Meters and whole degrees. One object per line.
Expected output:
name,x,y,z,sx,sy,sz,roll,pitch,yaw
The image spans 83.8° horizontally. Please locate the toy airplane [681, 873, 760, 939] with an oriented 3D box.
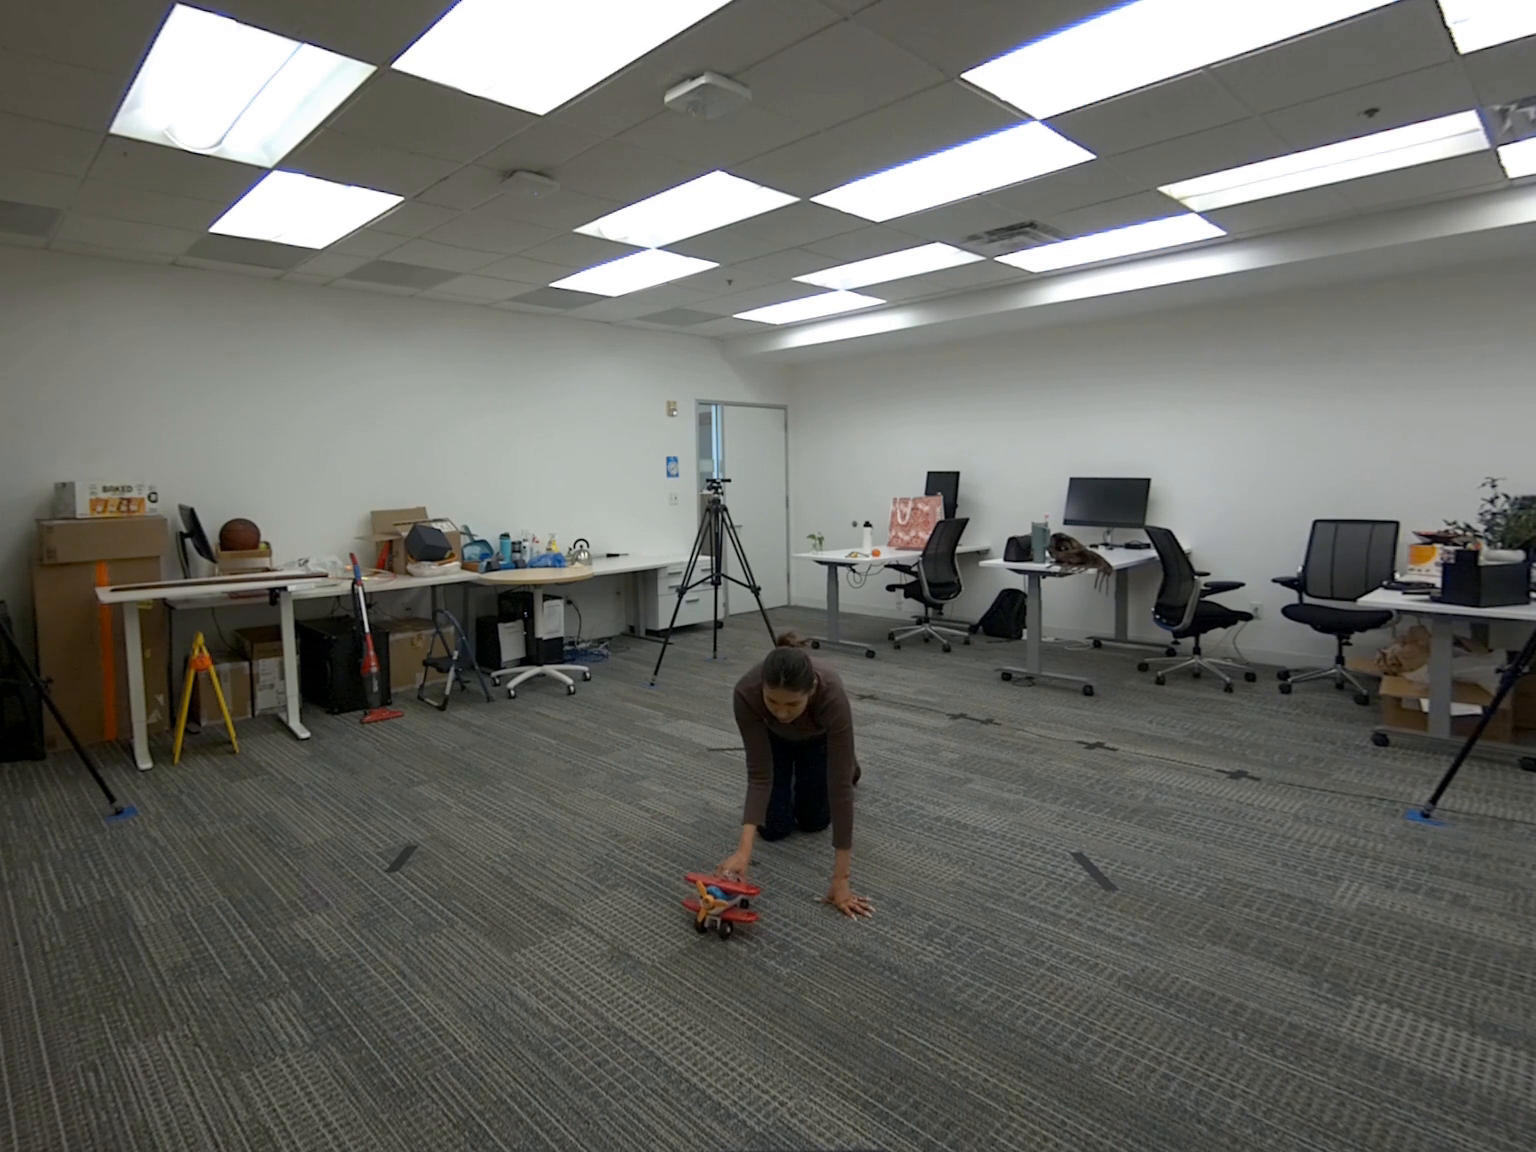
toy airplane,-0.147,1.017,2.703,0.251,0.155,0.261,-2,7,-2
